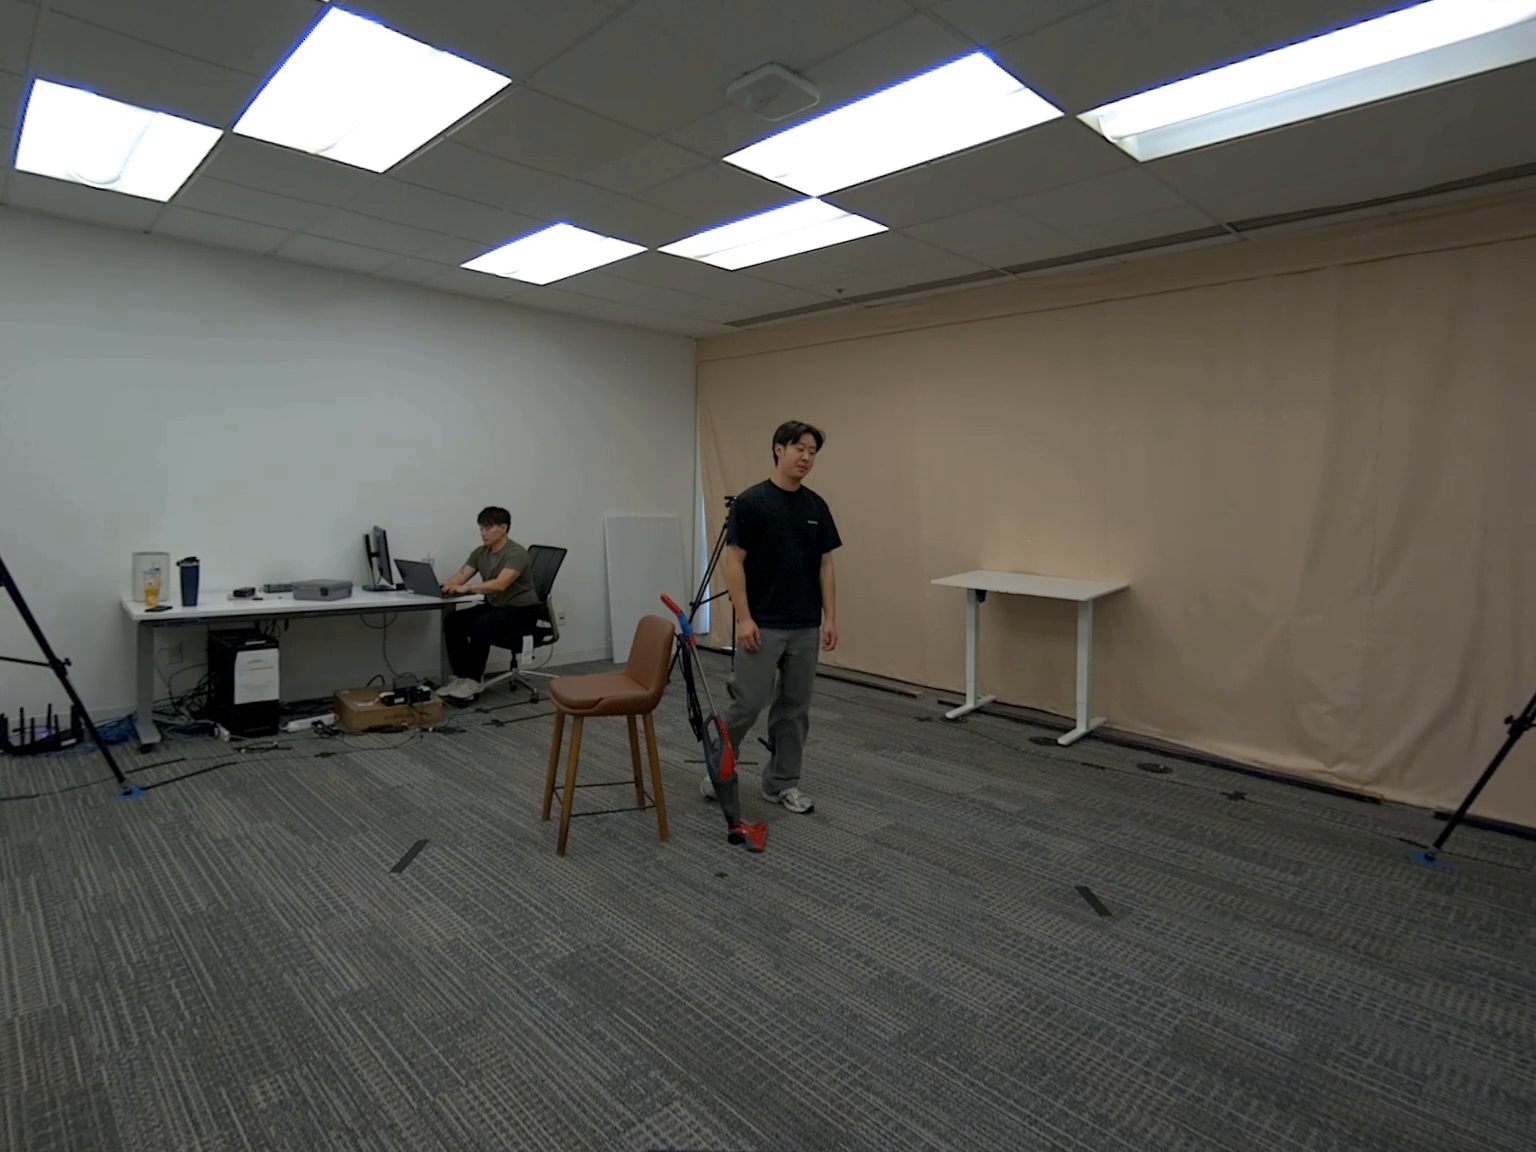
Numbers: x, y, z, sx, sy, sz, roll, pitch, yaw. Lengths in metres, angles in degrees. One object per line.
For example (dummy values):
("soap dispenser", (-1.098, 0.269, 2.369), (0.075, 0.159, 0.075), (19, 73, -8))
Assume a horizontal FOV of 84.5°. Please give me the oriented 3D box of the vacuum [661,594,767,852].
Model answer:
("vacuum", (-0.269, 0.573, 3.444), (0.144, 1.050, 0.252), (-19, -1, 1))
